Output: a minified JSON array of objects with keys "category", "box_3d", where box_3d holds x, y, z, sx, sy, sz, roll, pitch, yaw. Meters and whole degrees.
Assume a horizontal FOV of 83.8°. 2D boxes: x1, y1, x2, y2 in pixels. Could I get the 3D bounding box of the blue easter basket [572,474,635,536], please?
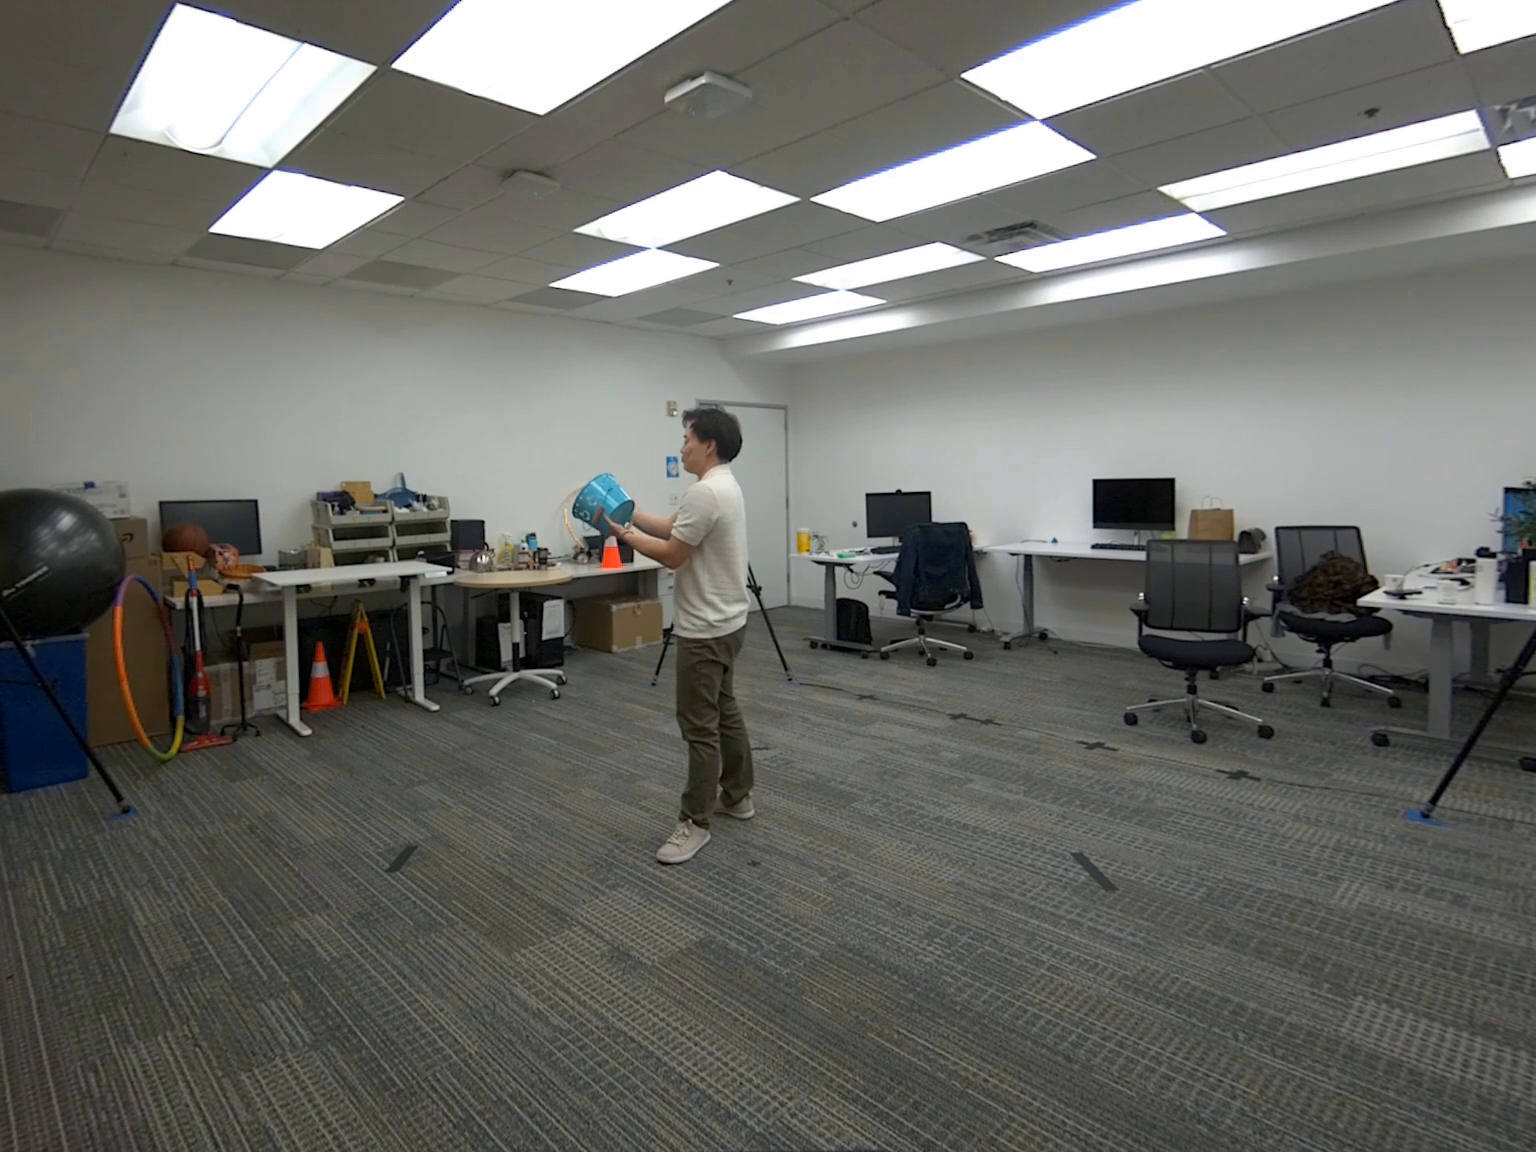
[{"category":"blue easter basket","box_3d":[-0.666,-0.278,3.473,0.159,0.242,0.239,38,18,15]}]
